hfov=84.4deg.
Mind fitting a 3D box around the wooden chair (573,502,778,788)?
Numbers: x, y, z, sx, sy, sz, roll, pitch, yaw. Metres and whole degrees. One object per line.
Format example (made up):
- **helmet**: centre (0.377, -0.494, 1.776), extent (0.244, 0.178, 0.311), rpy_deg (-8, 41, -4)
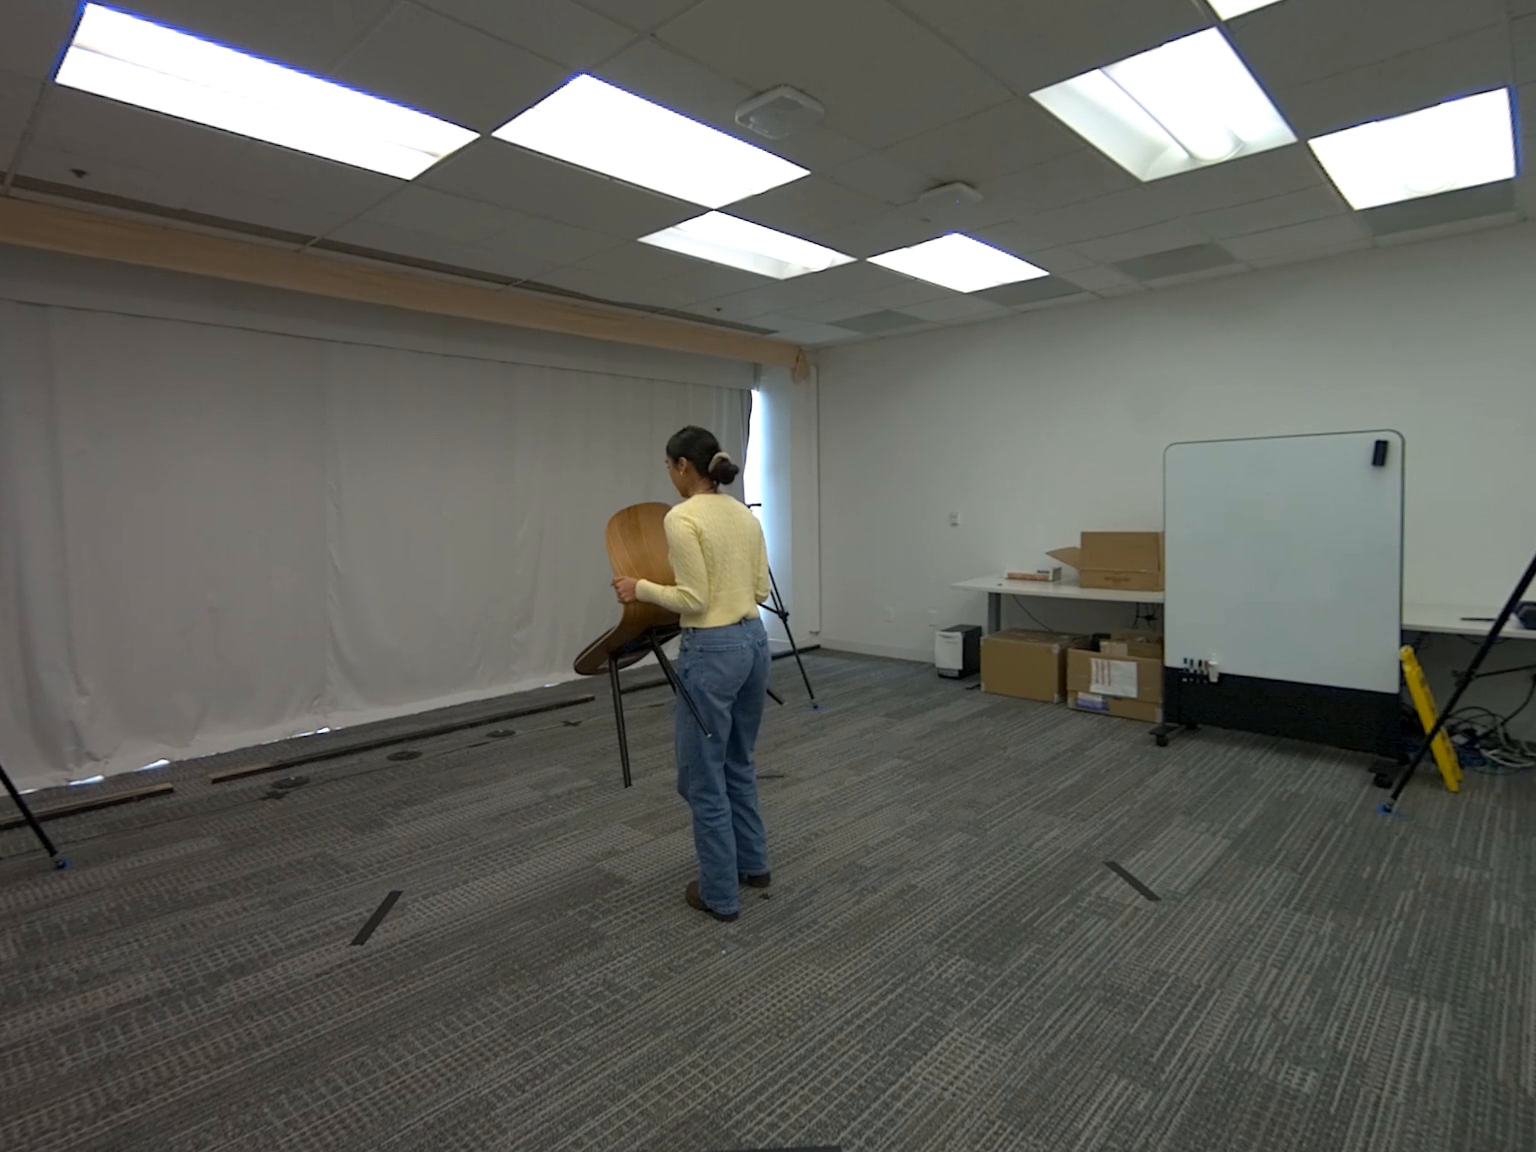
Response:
- **wooden chair**: centre (-0.422, 0.238, 3.087), extent (0.531, 0.889, 0.465), rpy_deg (-34, -15, 34)
